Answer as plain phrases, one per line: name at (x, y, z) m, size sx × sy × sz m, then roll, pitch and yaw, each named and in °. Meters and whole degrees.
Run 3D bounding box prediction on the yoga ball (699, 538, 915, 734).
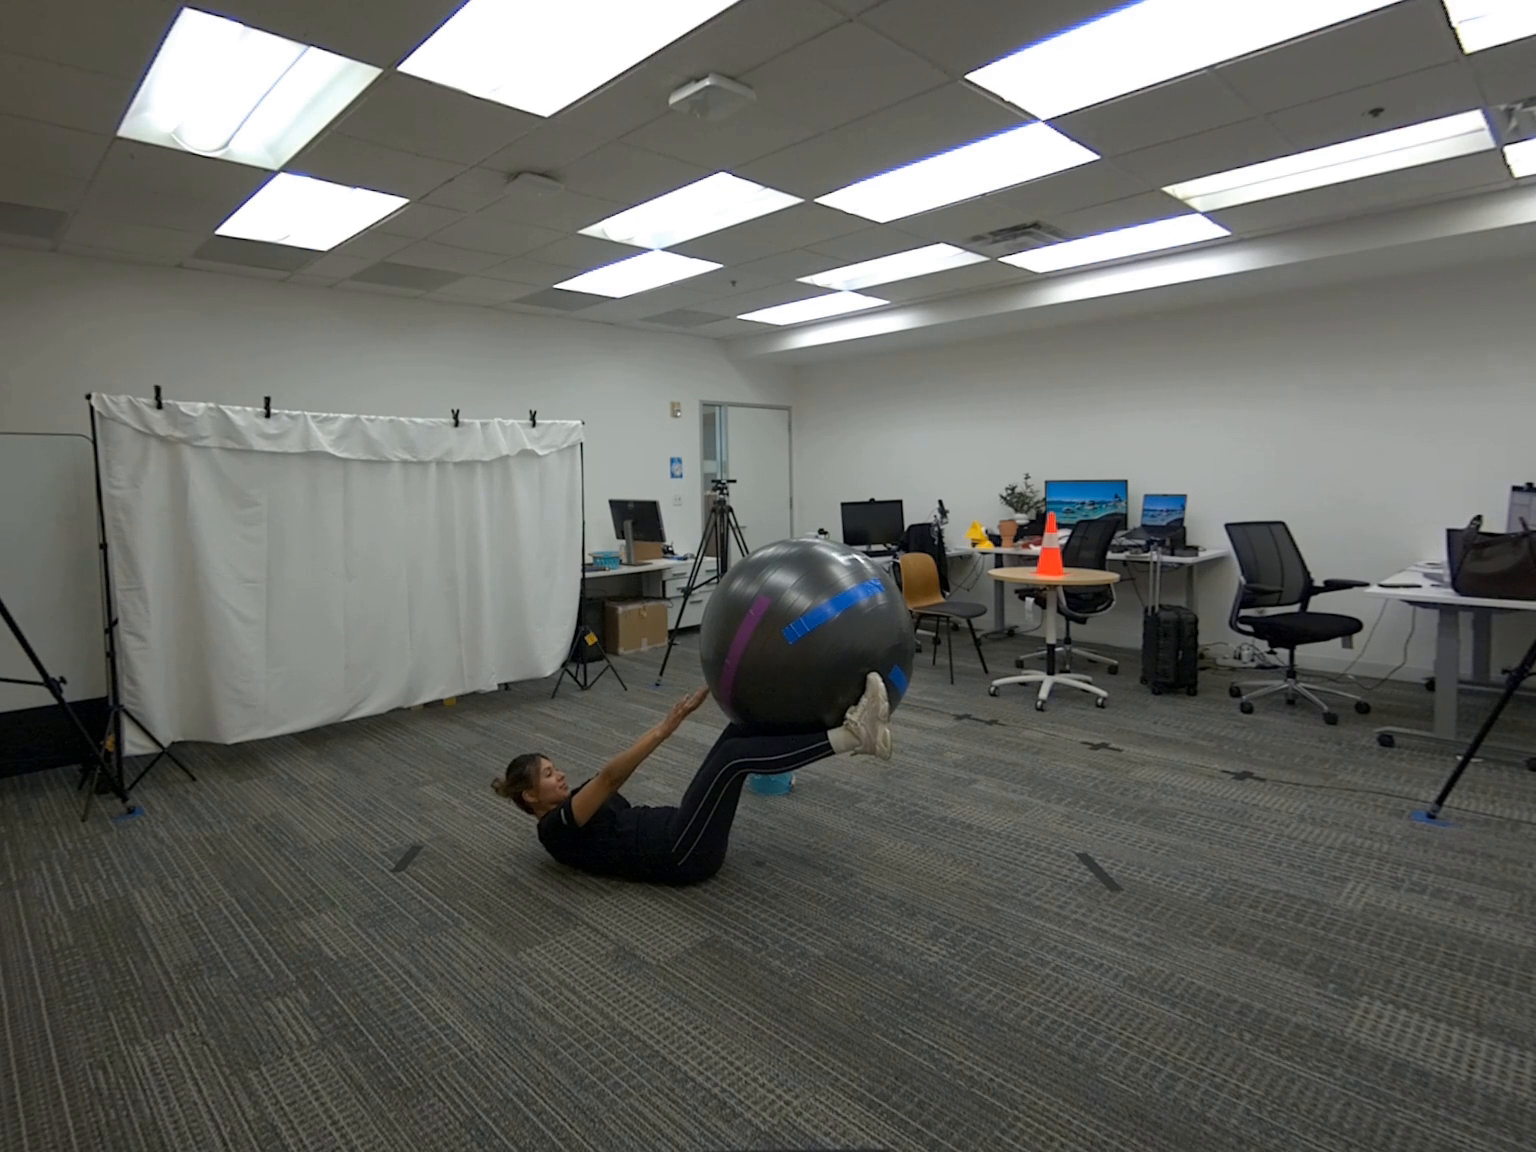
yoga ball at (0.132, 0.247, 3.018) m, size 0.757 × 0.755 × 0.762 m, roll -1°, pitch 5°, yaw -2°
